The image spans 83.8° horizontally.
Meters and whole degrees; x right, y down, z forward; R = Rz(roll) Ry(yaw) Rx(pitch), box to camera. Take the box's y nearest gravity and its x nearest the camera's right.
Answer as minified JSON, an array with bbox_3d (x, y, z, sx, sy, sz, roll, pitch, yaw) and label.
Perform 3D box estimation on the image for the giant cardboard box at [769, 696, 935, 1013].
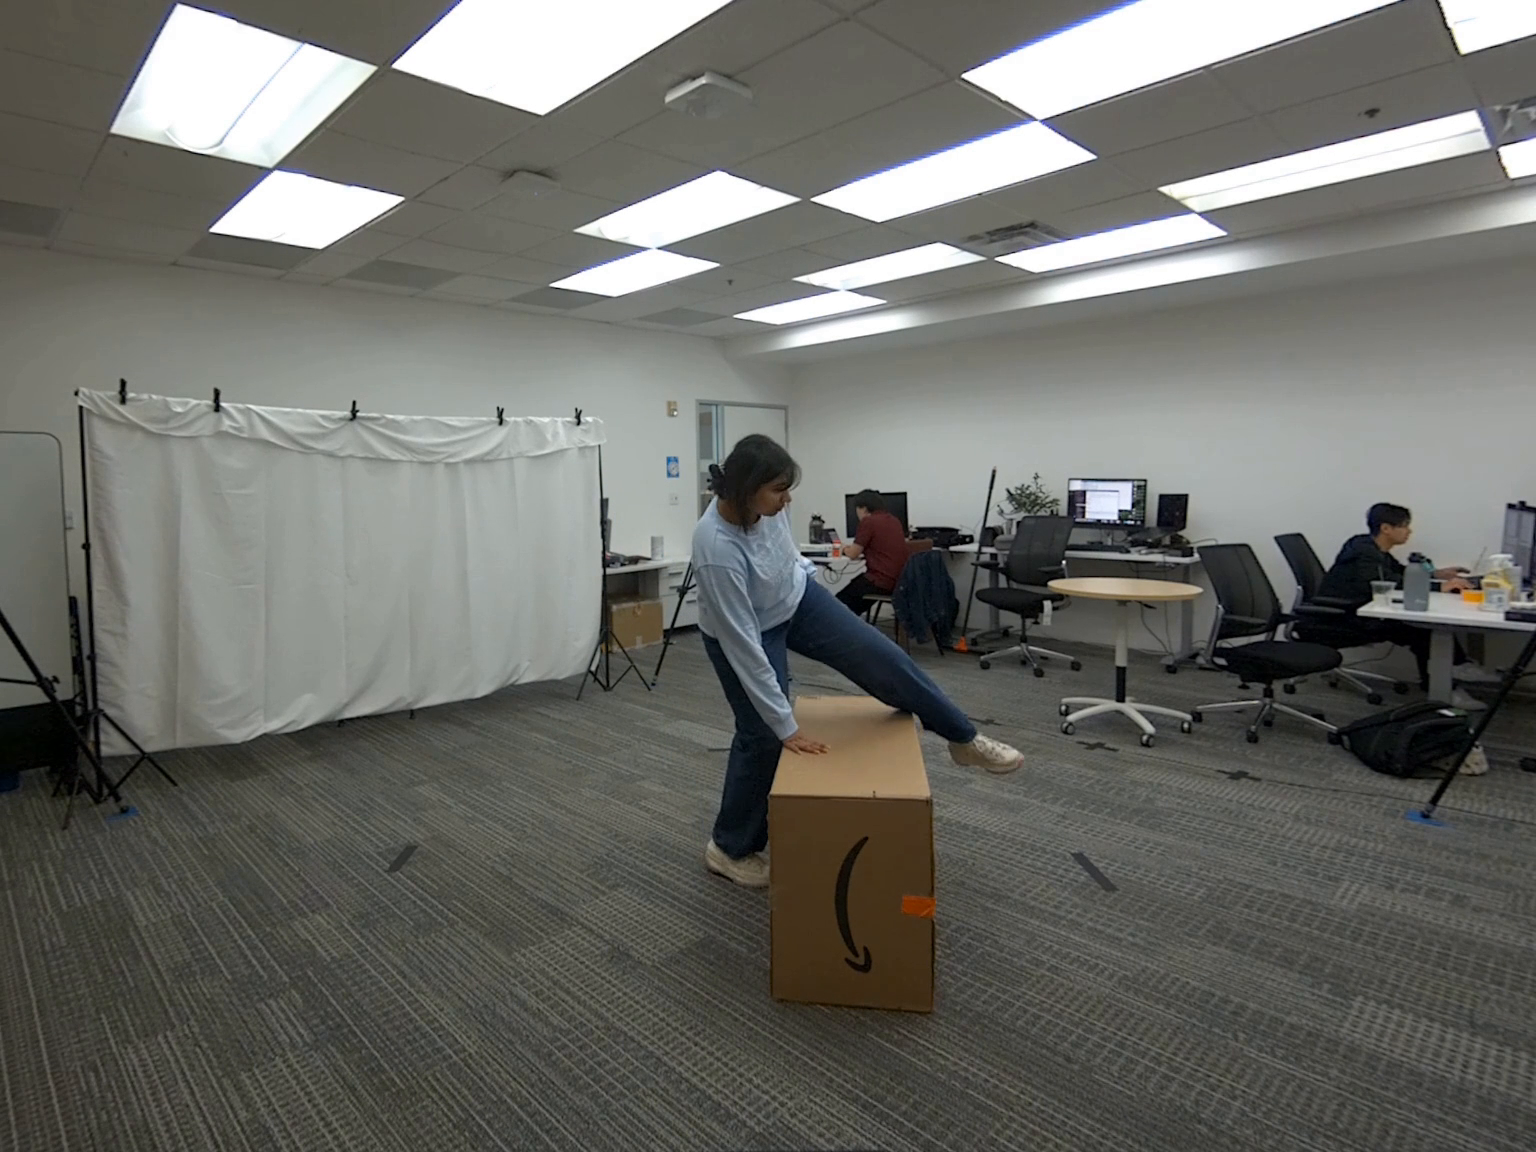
[{"bbox_3d":[0.277,0.794,2.731,0.429,0.575,1.022,0,6,7],"label":"giant cardboard box"}]
